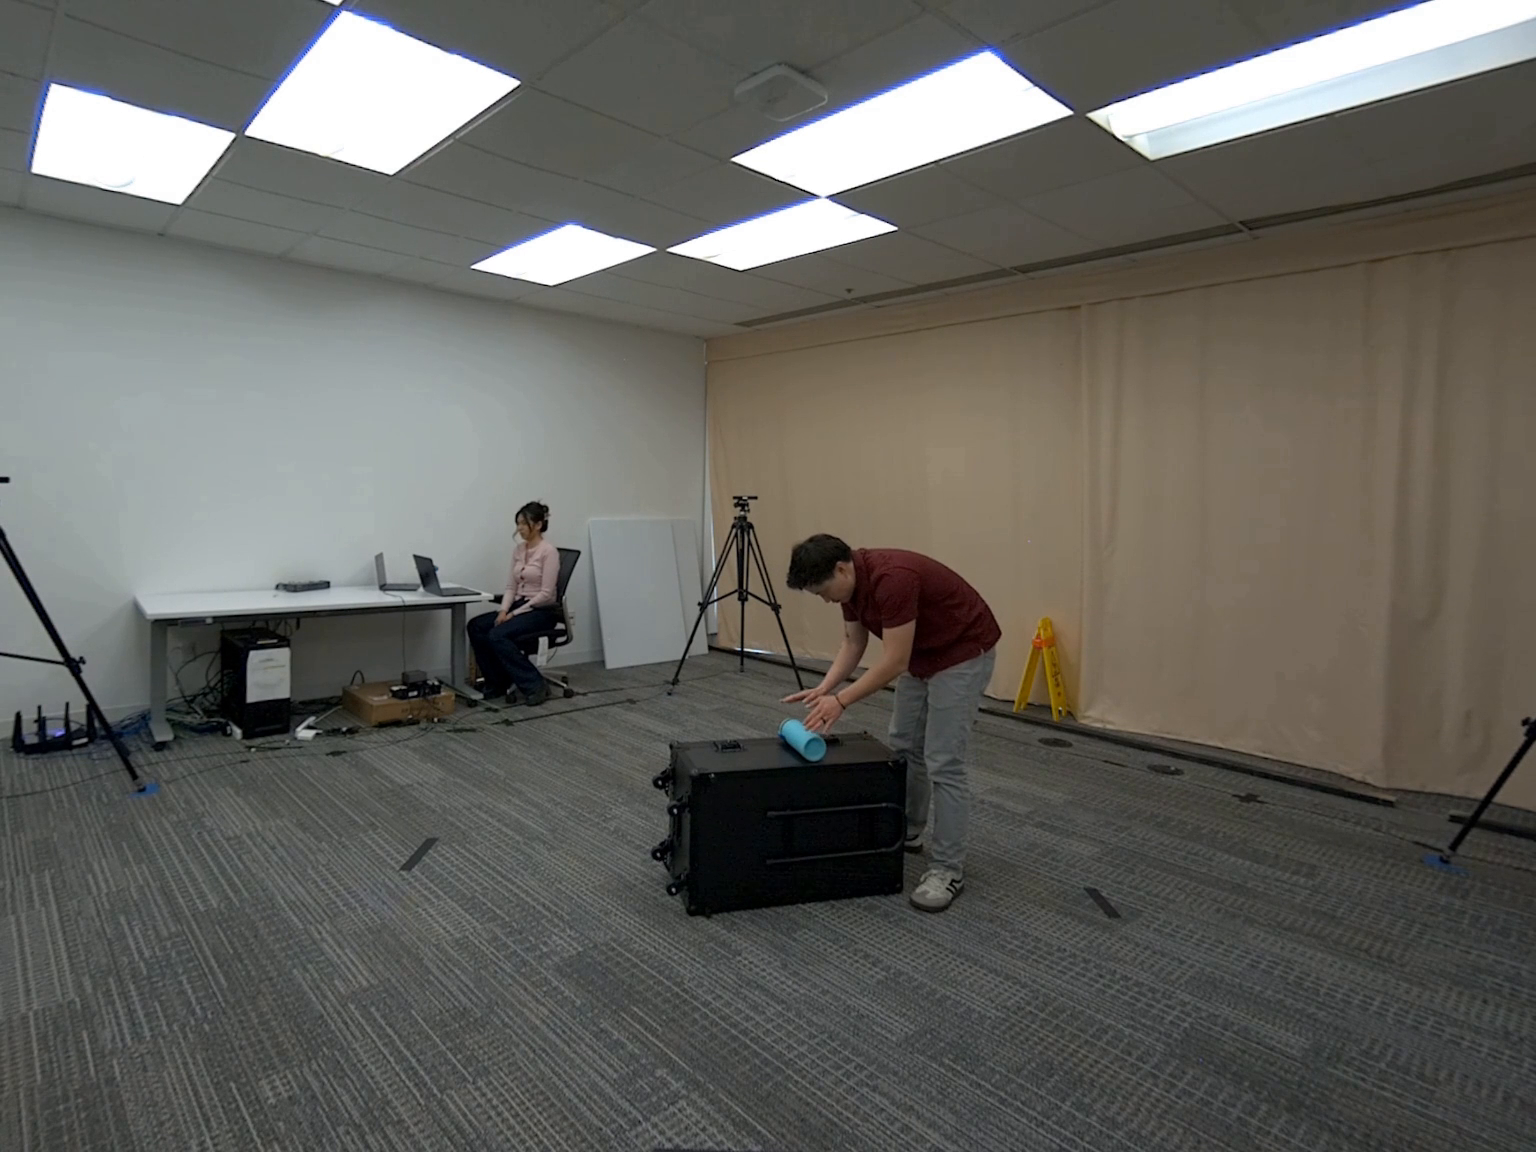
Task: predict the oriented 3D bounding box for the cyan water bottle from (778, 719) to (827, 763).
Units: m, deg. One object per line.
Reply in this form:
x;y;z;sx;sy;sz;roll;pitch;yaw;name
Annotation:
0.114;0.579;3.037;0.091;0.092;0.288;0;6;-17;cyan water bottle
